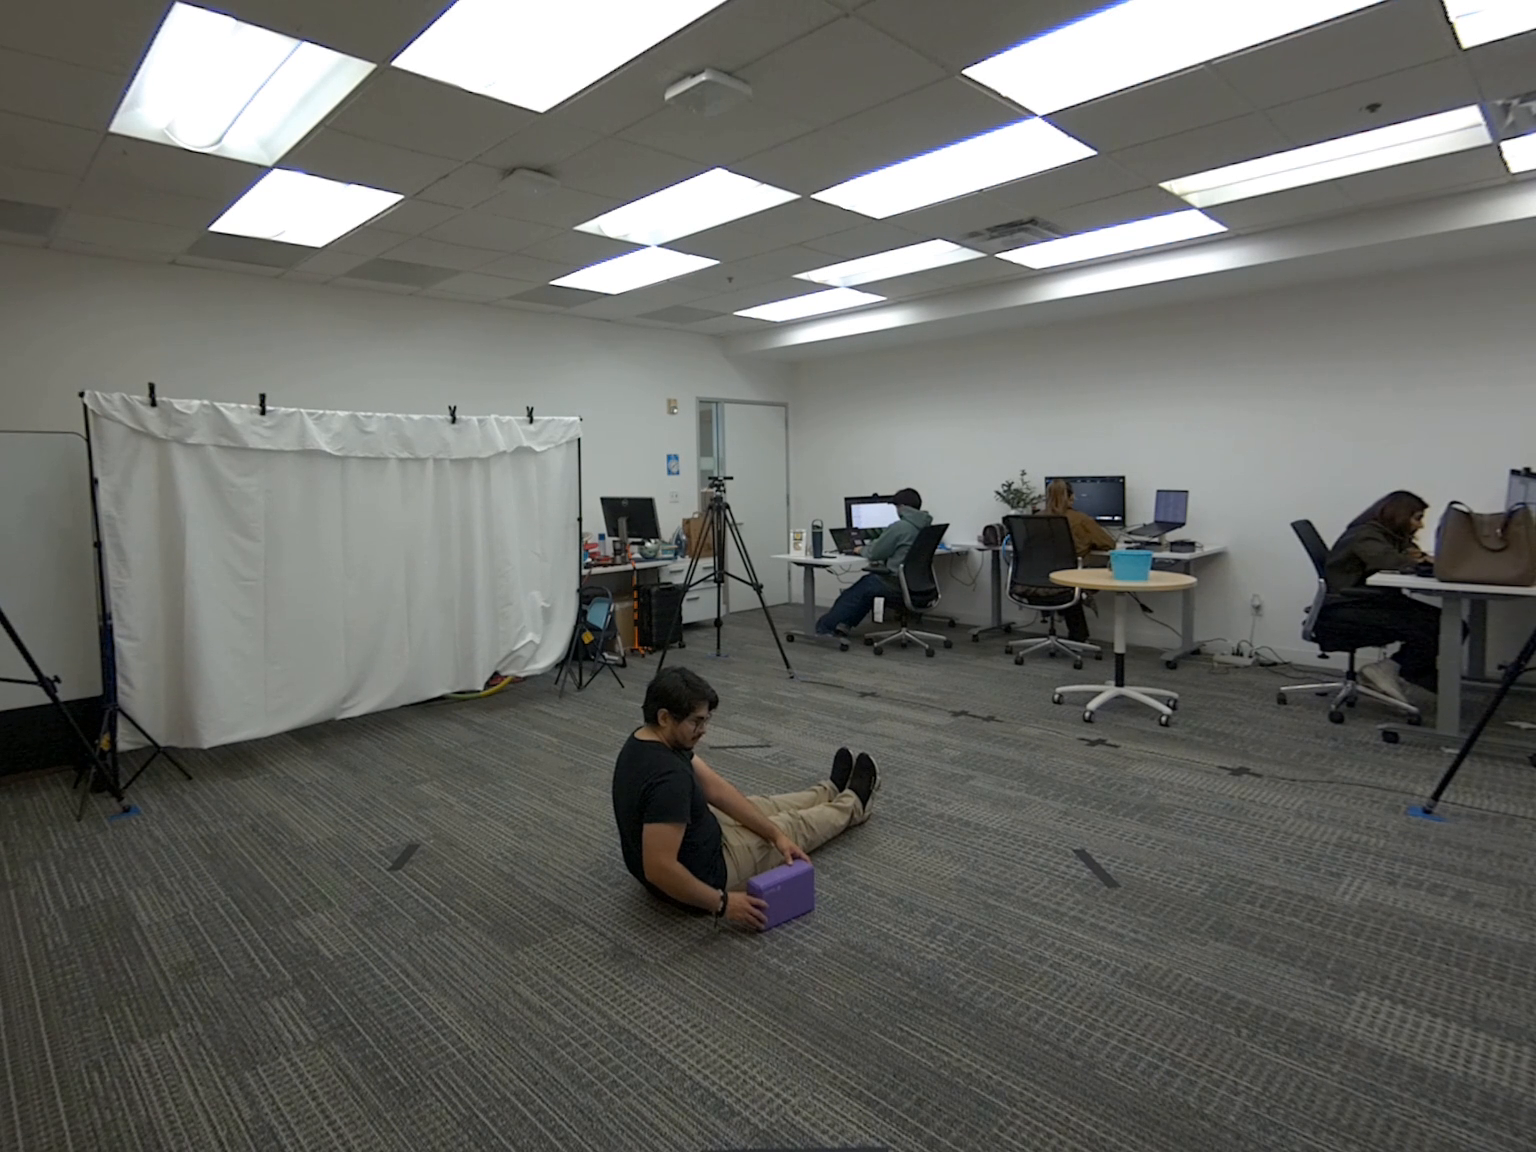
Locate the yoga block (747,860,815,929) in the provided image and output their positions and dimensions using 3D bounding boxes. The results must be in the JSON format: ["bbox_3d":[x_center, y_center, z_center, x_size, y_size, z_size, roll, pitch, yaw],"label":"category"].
[{"bbox_3d":[0.032,1.007,2.706,0.224,0.148,0.079,-7,7,-37],"label":"yoga block"}]
